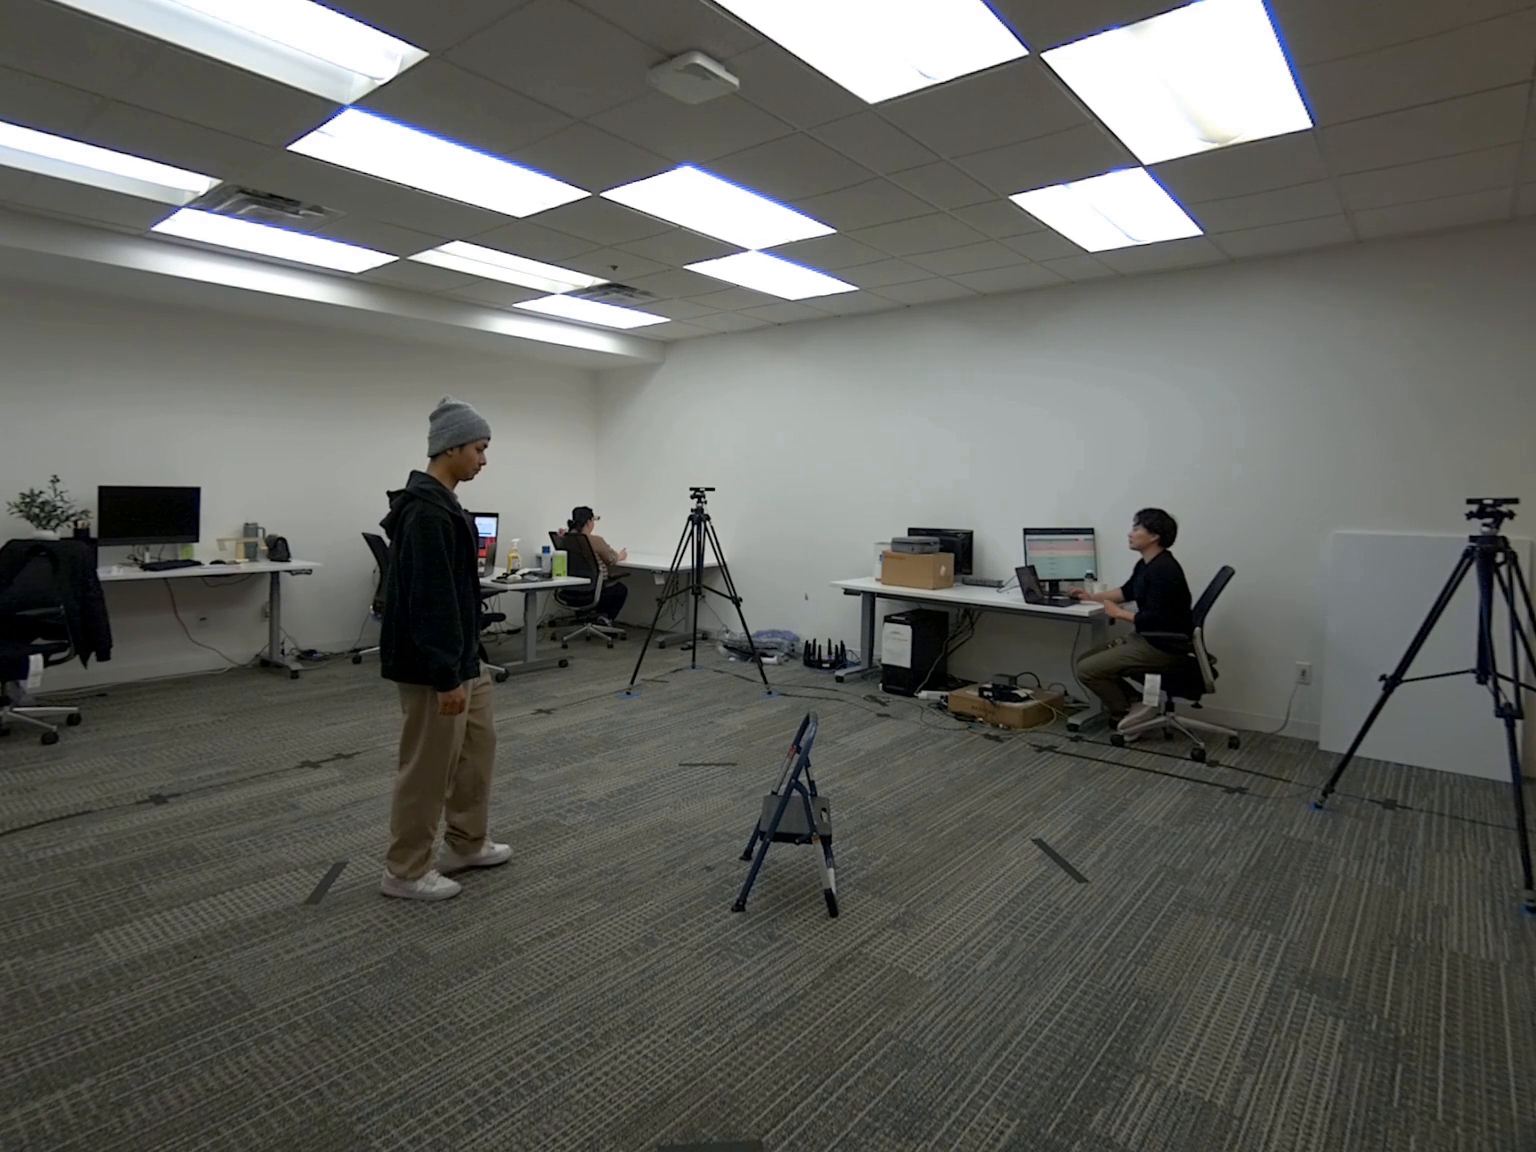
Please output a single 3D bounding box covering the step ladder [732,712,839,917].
[{"bbox_3d":[0.067,0.787,2.965,0.351,0.605,0.430,1,3,3],"label":"step ladder"}]
